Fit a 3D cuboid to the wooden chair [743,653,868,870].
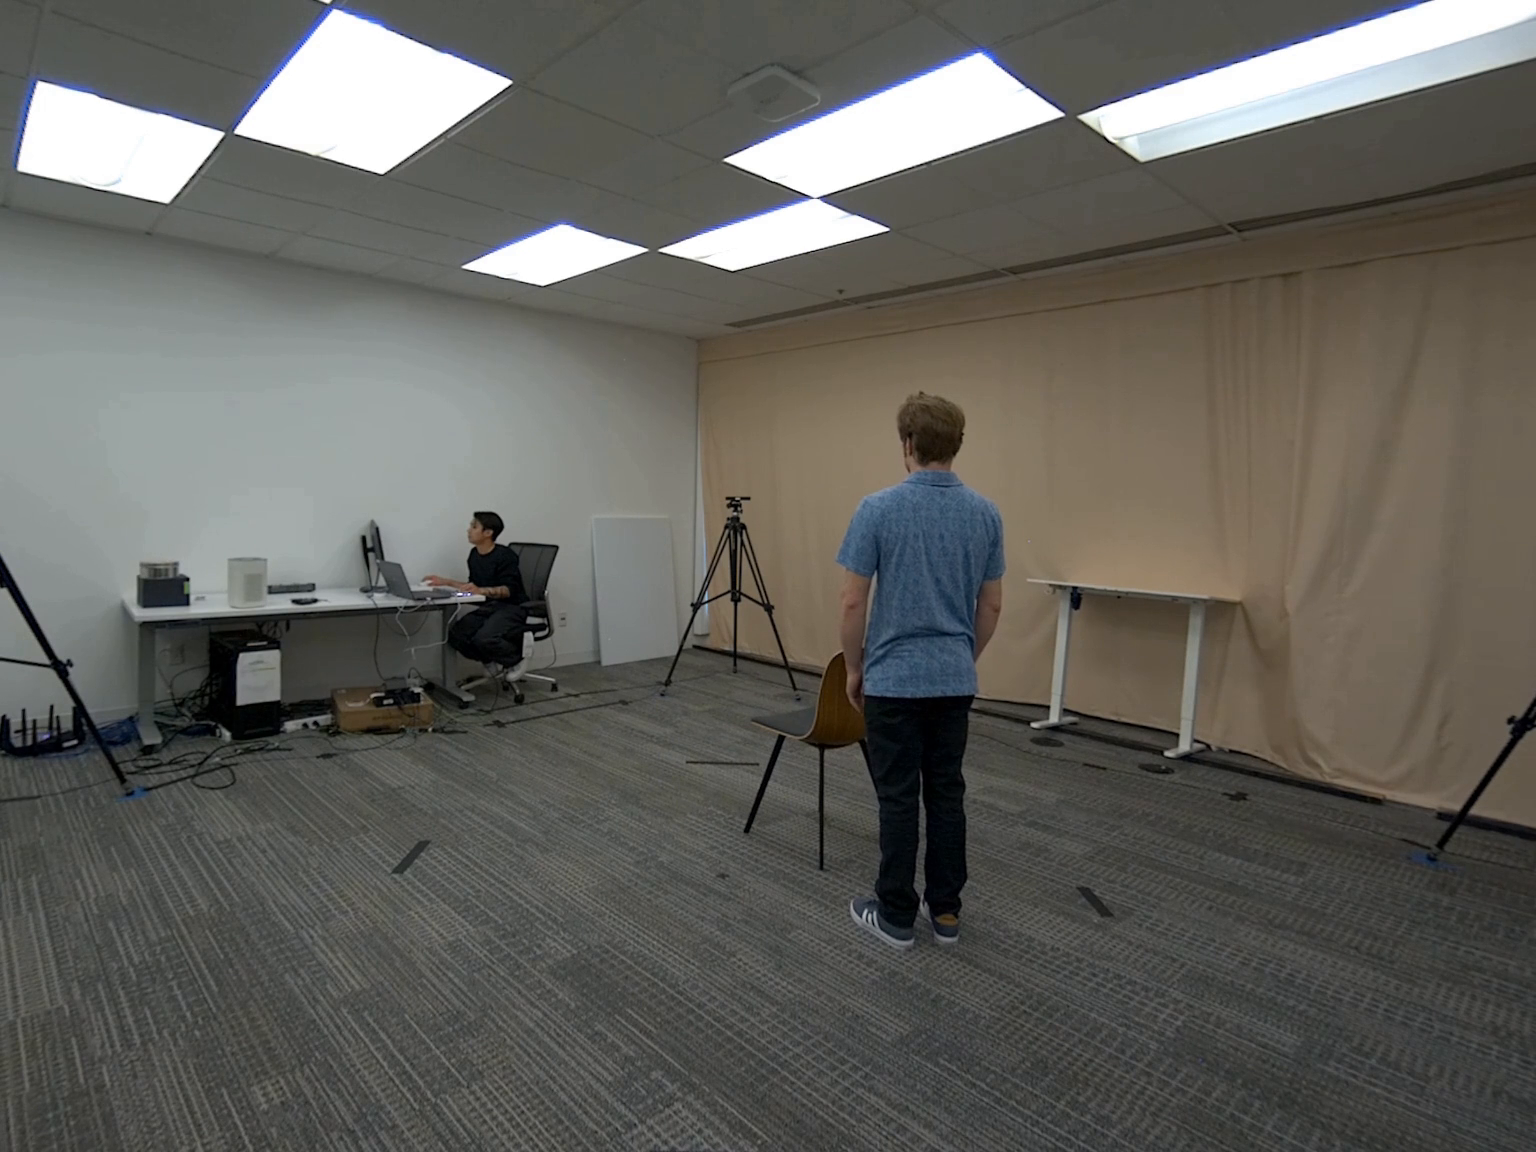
[{"bbox_3d":[0.213,0.655,3.451,0.467,0.873,0.537,-1,9,-41],"label":"wooden chair"}]
